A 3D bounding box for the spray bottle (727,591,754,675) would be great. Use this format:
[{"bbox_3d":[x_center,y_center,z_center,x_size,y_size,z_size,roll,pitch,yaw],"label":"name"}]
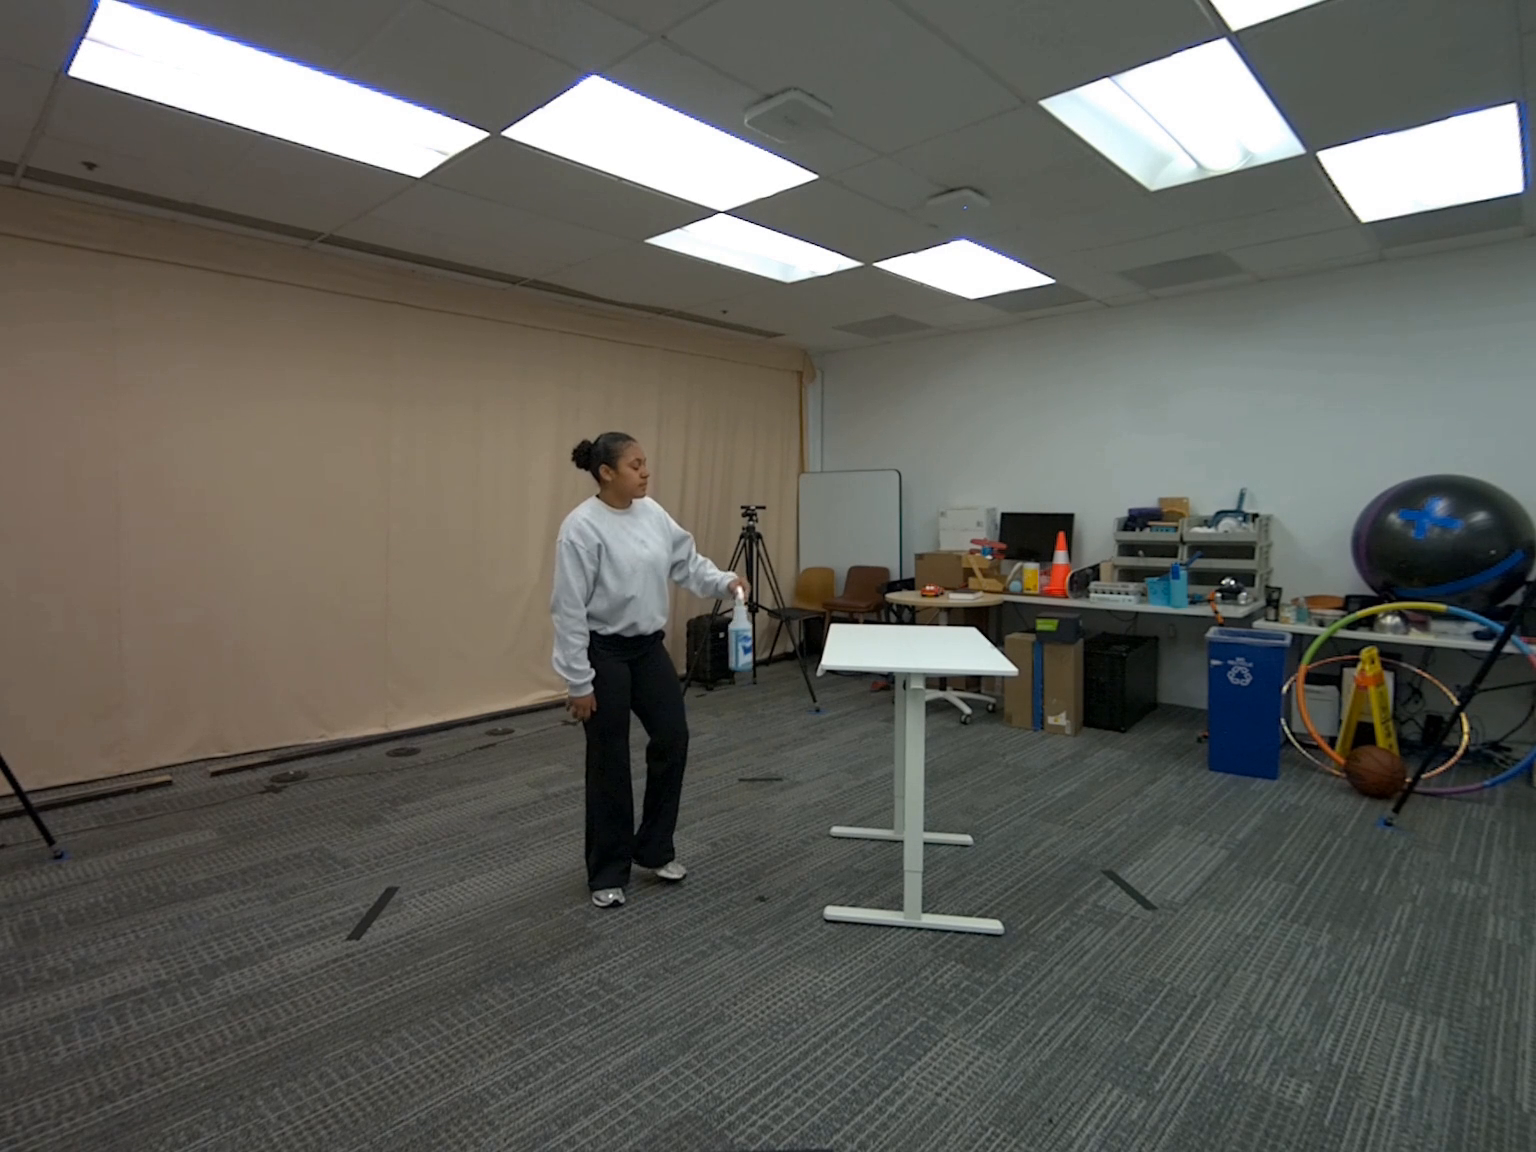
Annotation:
[{"bbox_3d":[-0.097,0.205,3.028,0.088,0.296,0.089,1,6,16],"label":"spray bottle"}]
